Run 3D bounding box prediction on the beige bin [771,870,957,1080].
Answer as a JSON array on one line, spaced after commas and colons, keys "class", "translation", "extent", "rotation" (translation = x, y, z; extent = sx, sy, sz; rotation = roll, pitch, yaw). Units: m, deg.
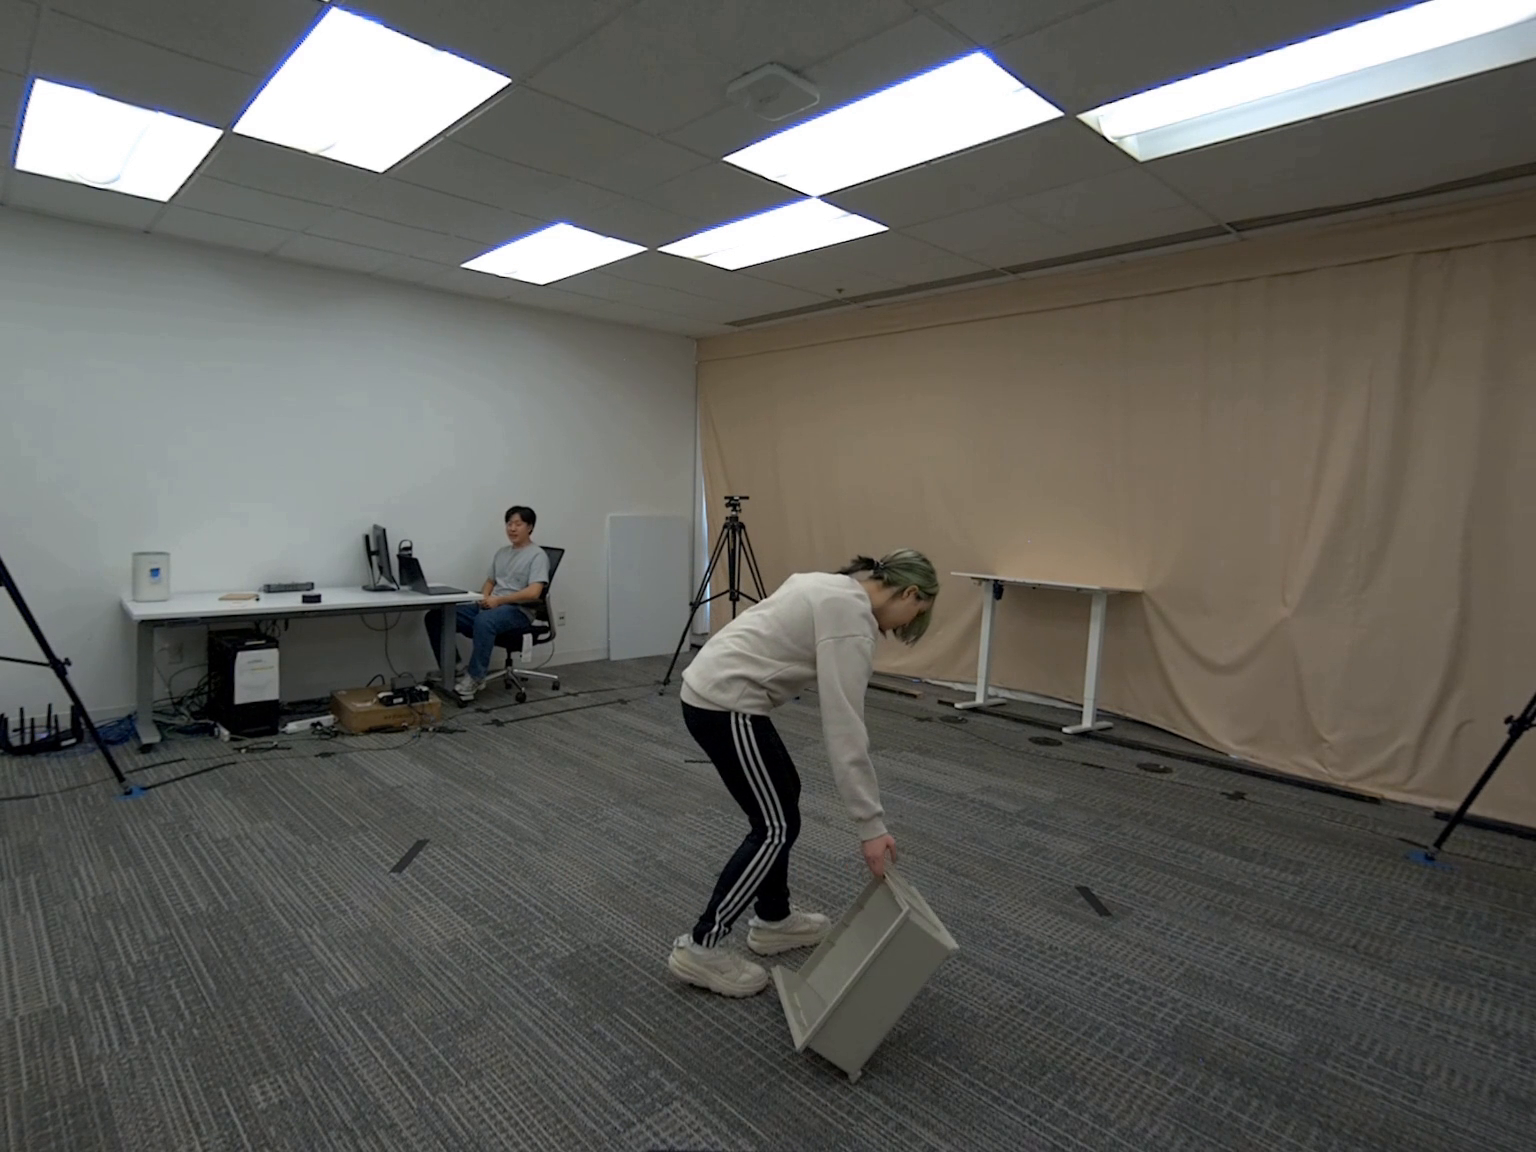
[{"class": "beige bin", "translation": [0.236, 0.990, 2.164], "extent": [0.187, 0.422, 0.381], "rotation": [40, -2, -10]}]
